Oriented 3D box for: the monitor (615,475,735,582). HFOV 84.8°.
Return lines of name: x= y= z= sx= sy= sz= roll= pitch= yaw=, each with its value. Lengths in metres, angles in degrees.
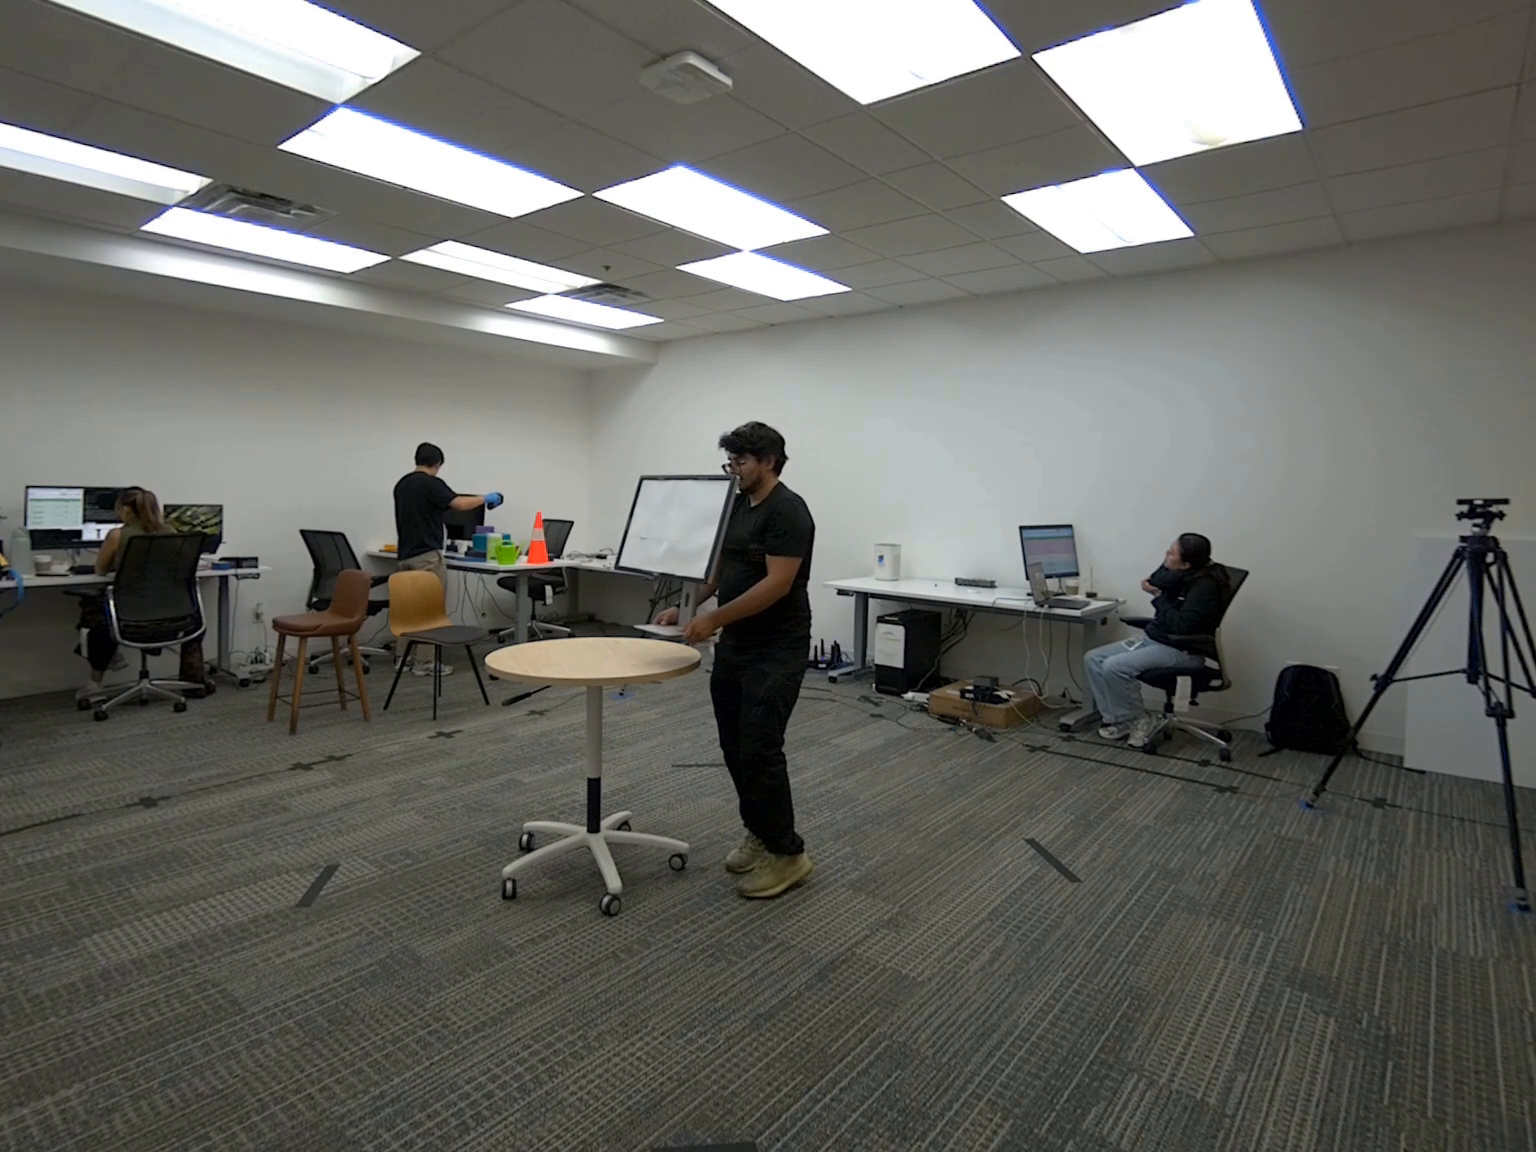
monitor: x=-0.298 y=-0.075 z=2.951 sx=0.202 sy=0.556 sz=0.585 roll=13 pitch=-5 yaw=-41
